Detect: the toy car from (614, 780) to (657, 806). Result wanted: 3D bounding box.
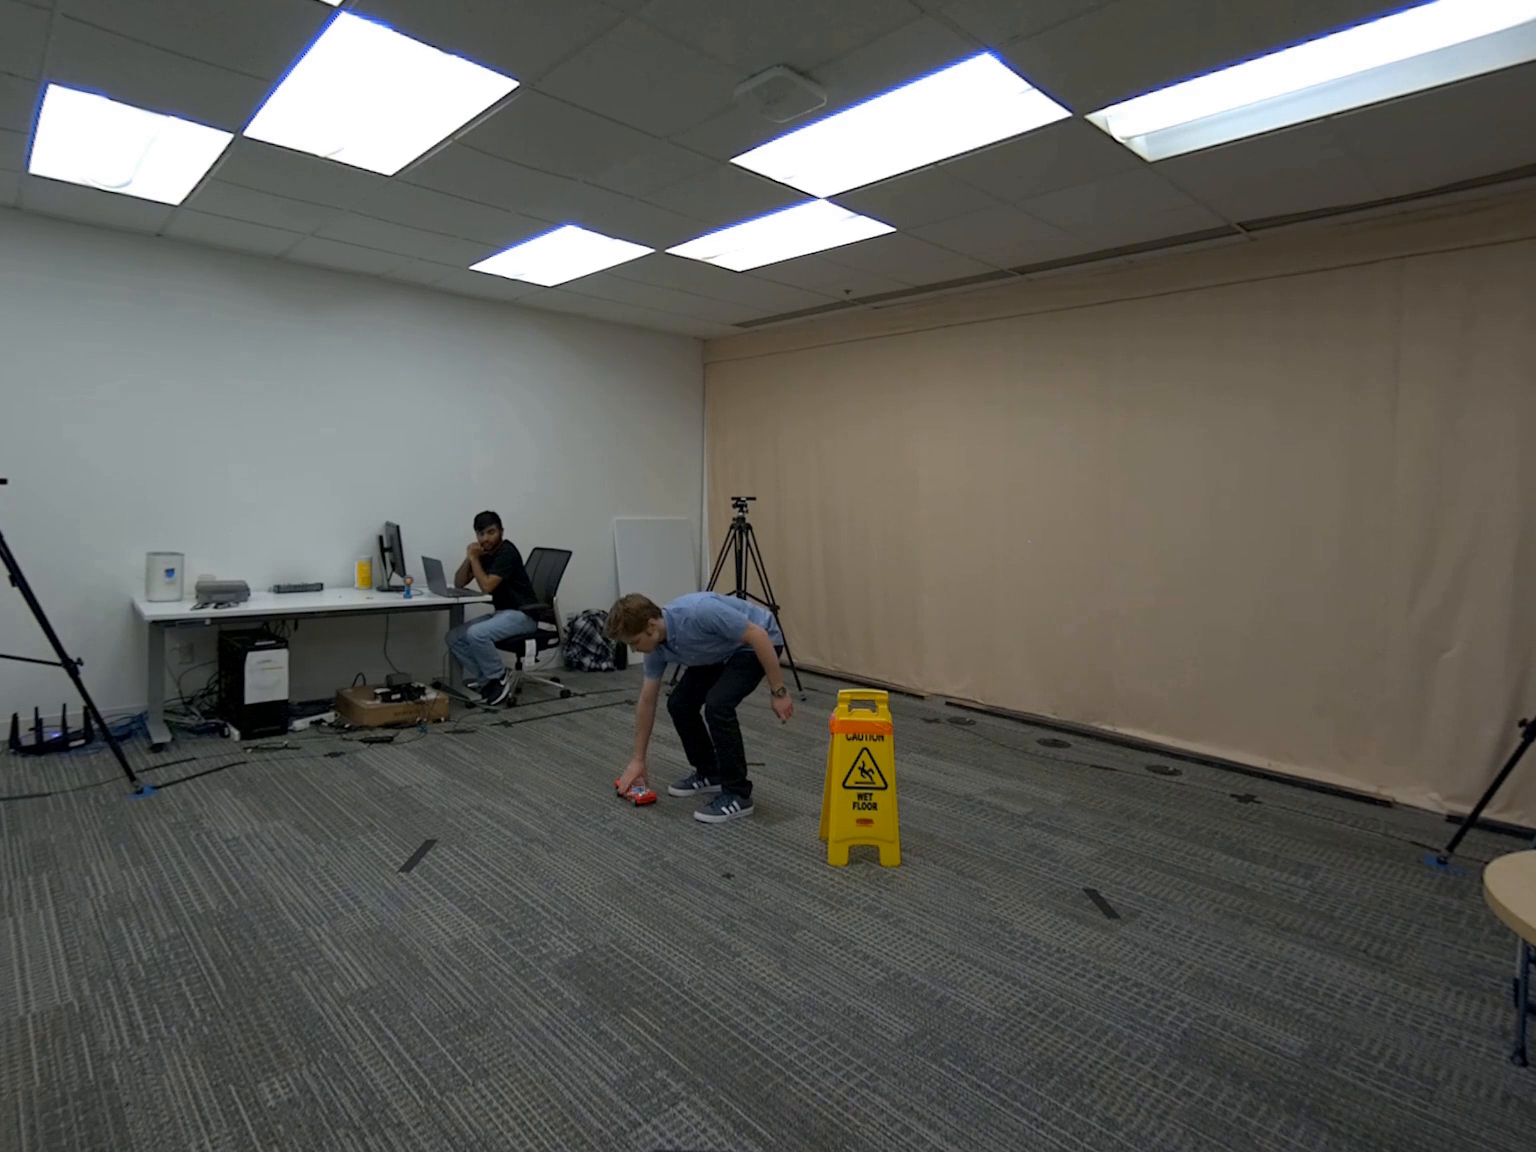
[{"bbox_3d":[-0.626,0.993,3.894,0.127,0.082,0.262,-2,16,-36],"label":"toy car"}]
